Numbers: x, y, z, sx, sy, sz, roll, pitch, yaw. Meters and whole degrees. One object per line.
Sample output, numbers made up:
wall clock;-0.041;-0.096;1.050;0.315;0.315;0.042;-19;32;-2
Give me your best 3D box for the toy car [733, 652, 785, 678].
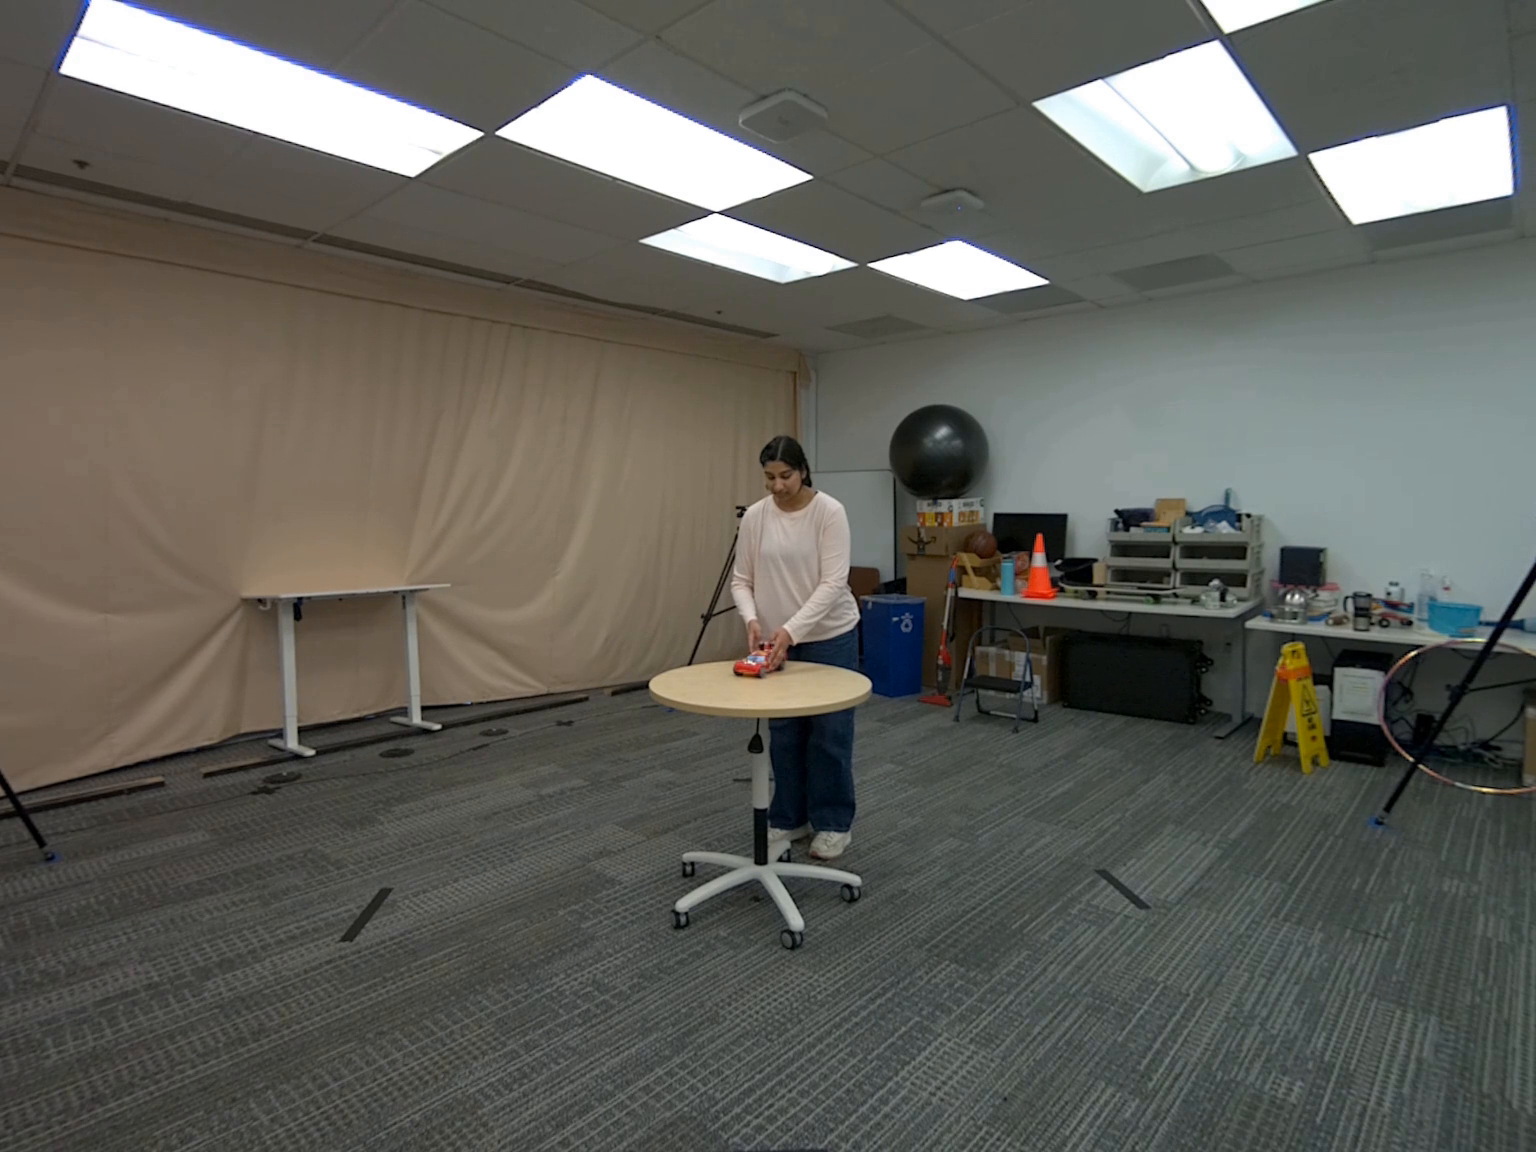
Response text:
toy car;-0.019;0.319;3.080;0.134;0.082;0.250;2;16;30
